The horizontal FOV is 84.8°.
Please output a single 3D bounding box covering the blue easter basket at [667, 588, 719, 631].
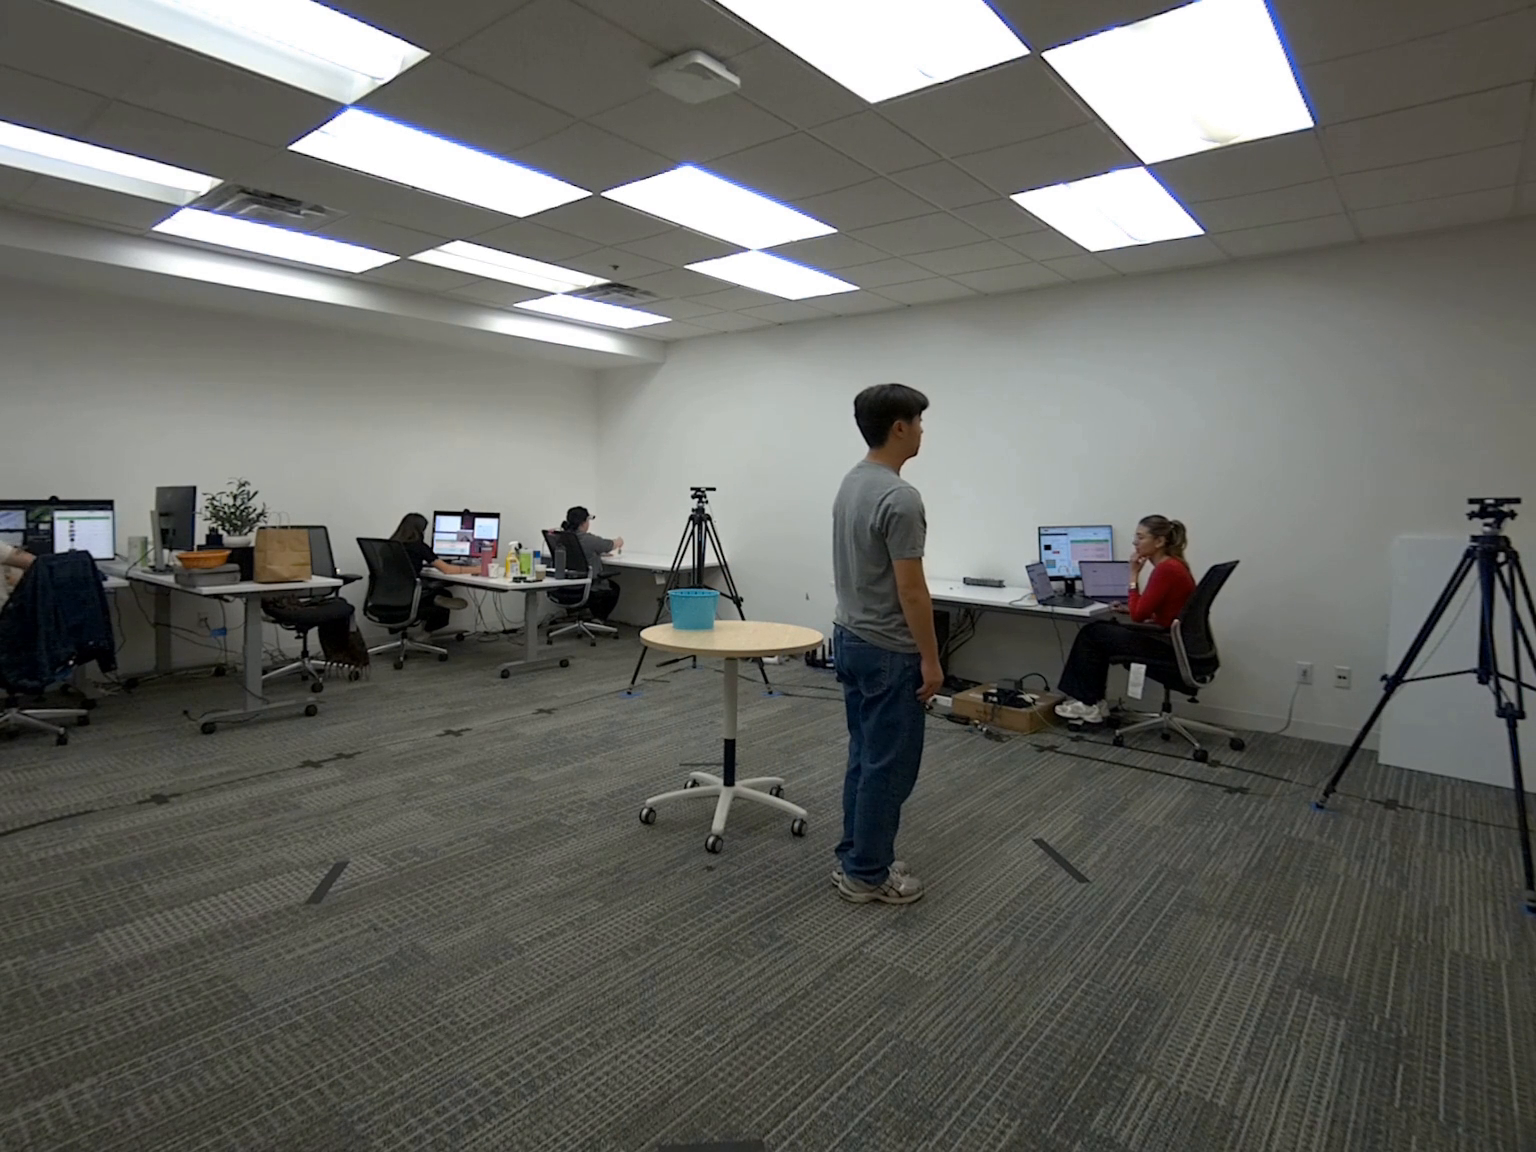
[{"bbox_3d":[-0.336,0.146,3.752,0.243,0.155,0.244,0,4,-2],"label":"blue easter basket"}]
